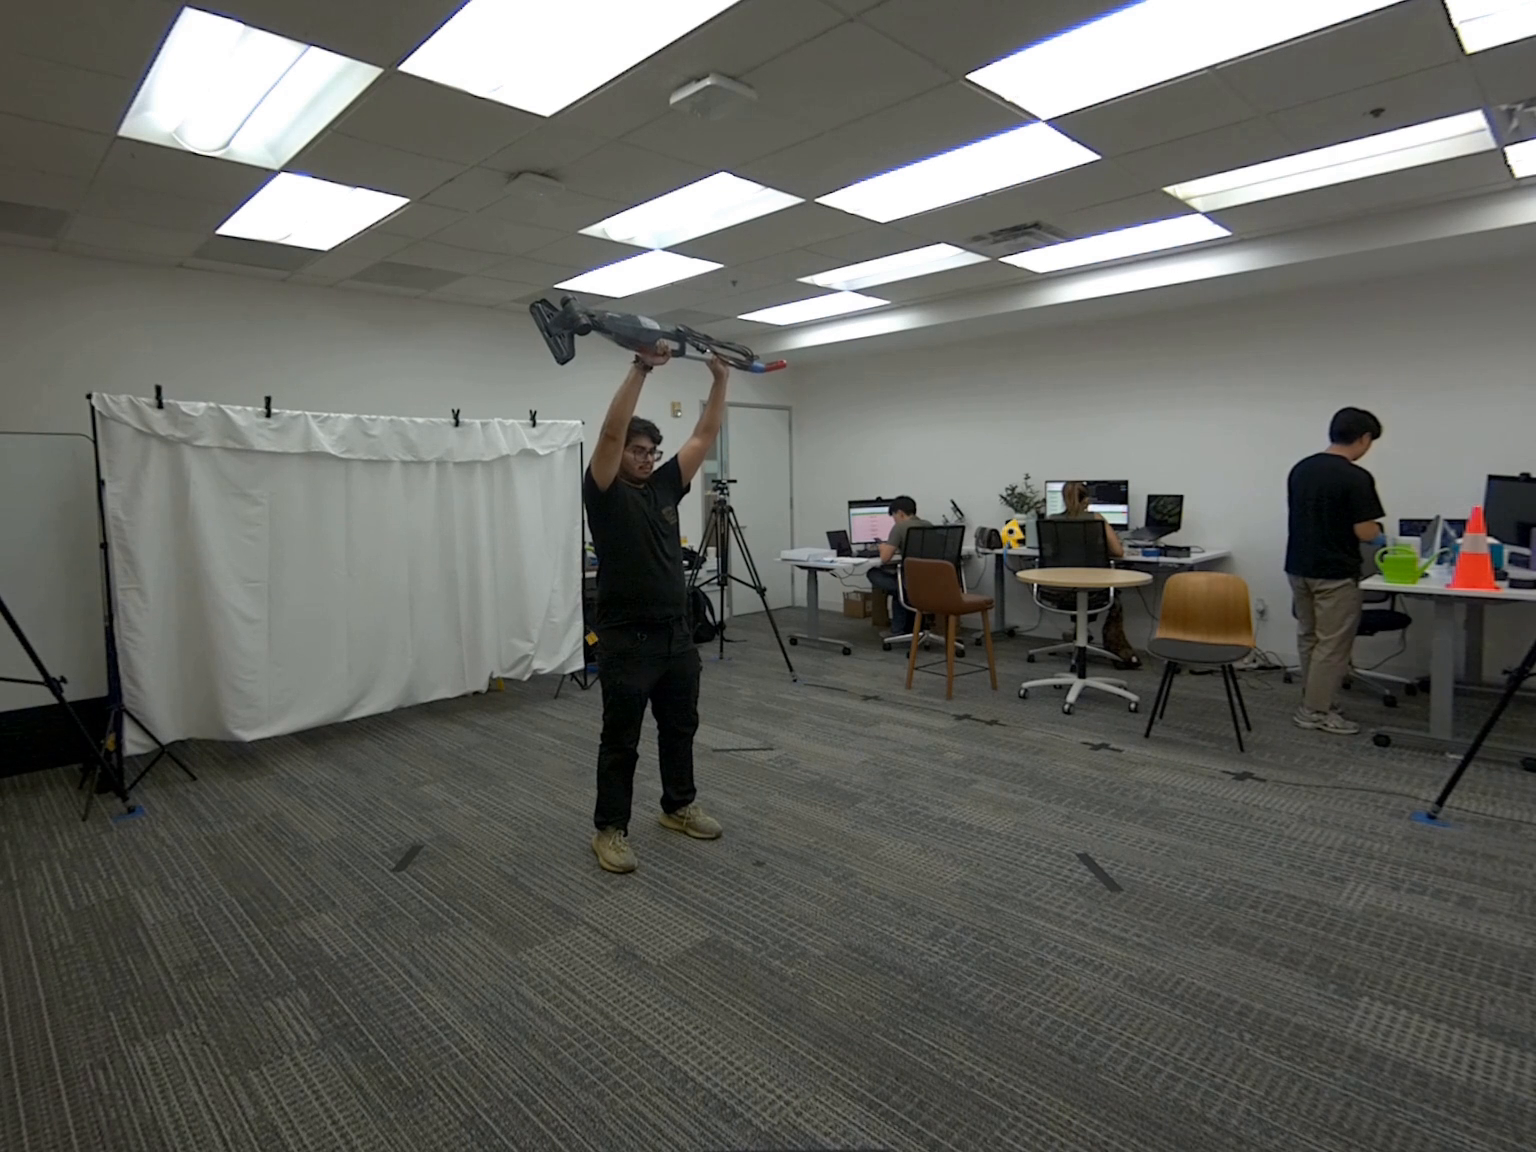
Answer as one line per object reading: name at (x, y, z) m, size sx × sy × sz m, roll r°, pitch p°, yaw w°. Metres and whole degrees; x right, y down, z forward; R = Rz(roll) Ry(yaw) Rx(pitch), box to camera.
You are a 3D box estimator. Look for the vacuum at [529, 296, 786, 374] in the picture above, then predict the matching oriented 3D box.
vacuum at (-0.282, -0.803, 2.946) m, size 1.022 × 0.143 × 0.261 m, roll -7°, pitch 51°, yaw -47°
